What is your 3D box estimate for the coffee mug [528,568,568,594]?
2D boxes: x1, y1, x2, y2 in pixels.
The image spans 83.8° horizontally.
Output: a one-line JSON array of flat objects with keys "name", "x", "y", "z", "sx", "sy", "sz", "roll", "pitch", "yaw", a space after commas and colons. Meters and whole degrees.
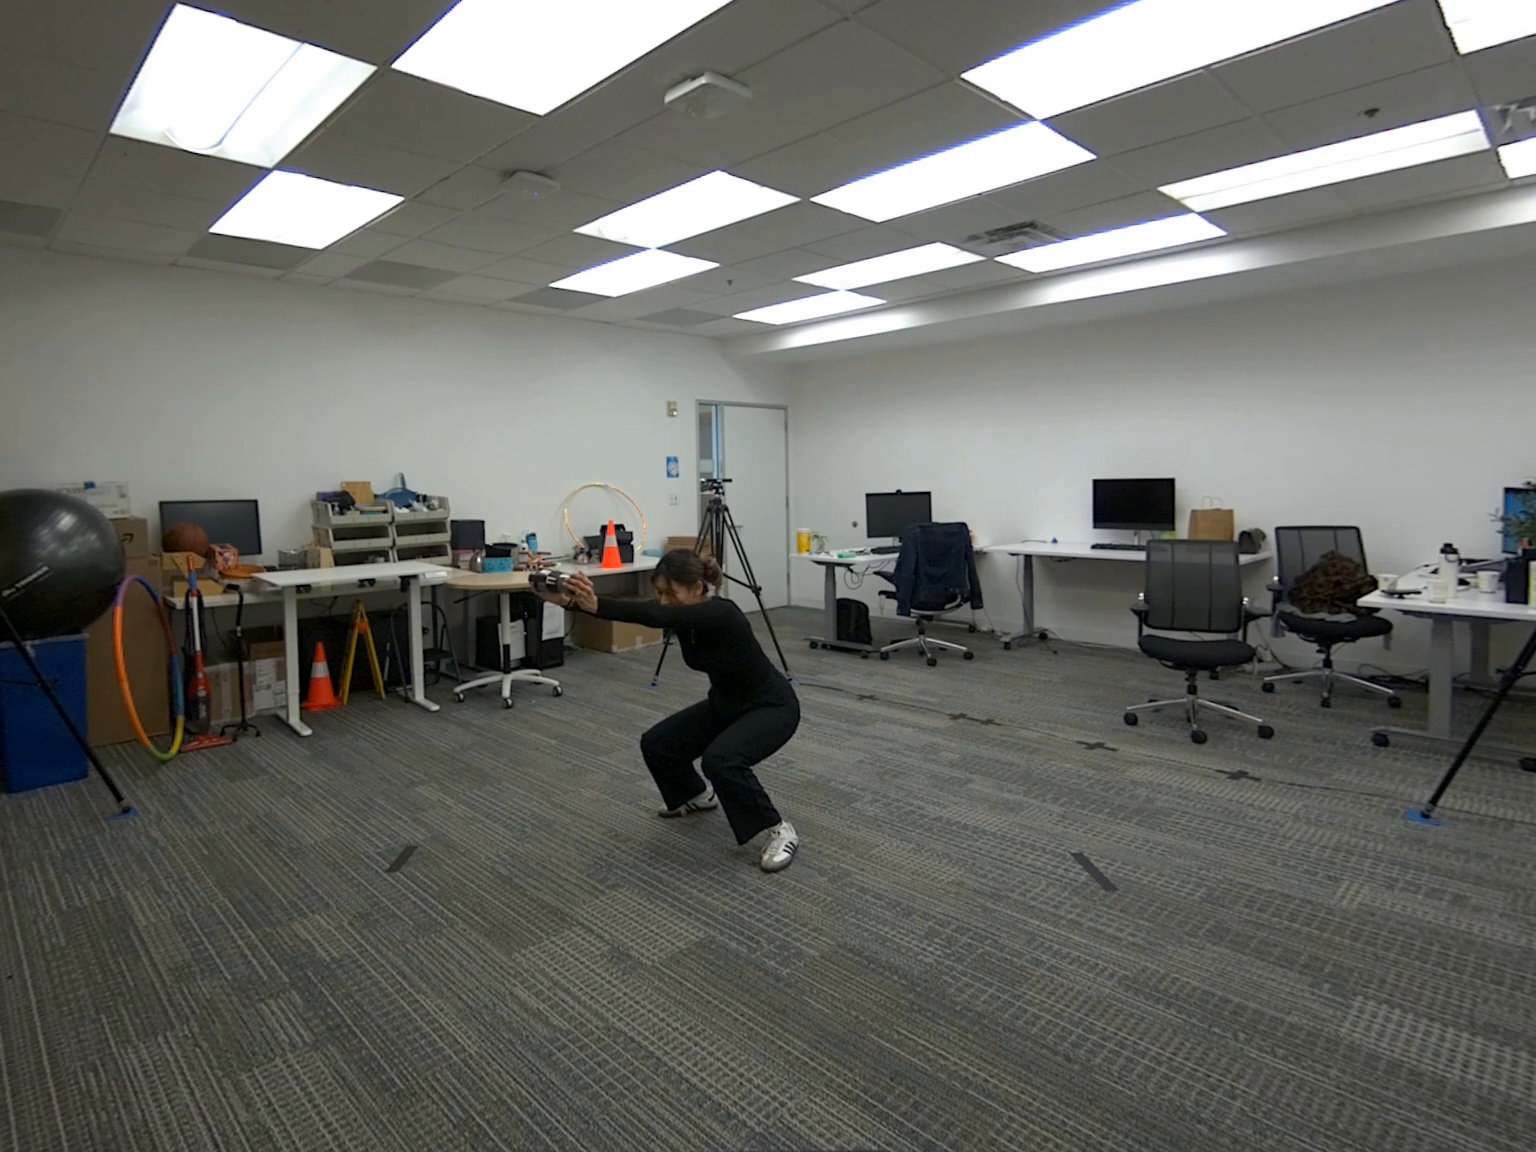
[{"name": "coffee mug", "x": -0.709, "y": 0.025, "z": 2.841, "sx": 0.119, "sy": 0.087, "sz": 0.209, "roll": -12, "pitch": 13, "yaw": -37}]
